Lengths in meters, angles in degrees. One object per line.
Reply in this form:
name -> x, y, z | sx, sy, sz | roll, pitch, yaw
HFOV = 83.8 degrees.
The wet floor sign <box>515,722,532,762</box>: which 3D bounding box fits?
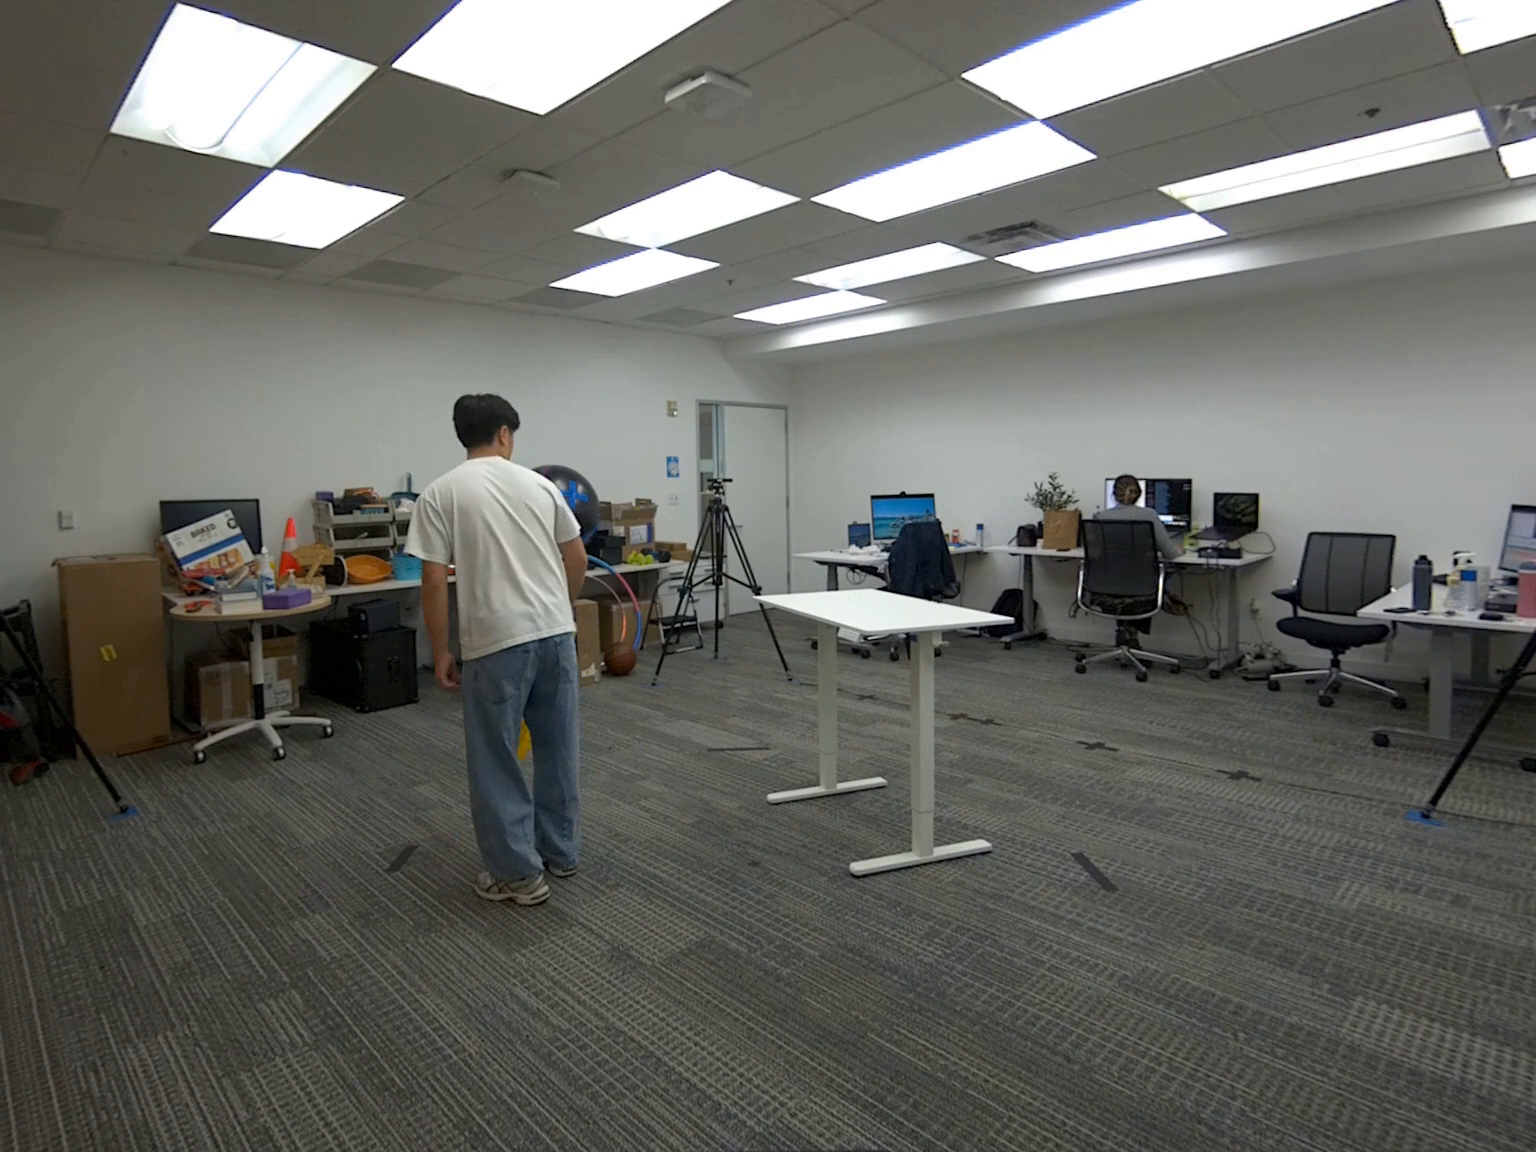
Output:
wet floor sign -> -0.886, 0.437, 3.289 | 0.279, 0.645, 0.293 | 18, 6, -47
